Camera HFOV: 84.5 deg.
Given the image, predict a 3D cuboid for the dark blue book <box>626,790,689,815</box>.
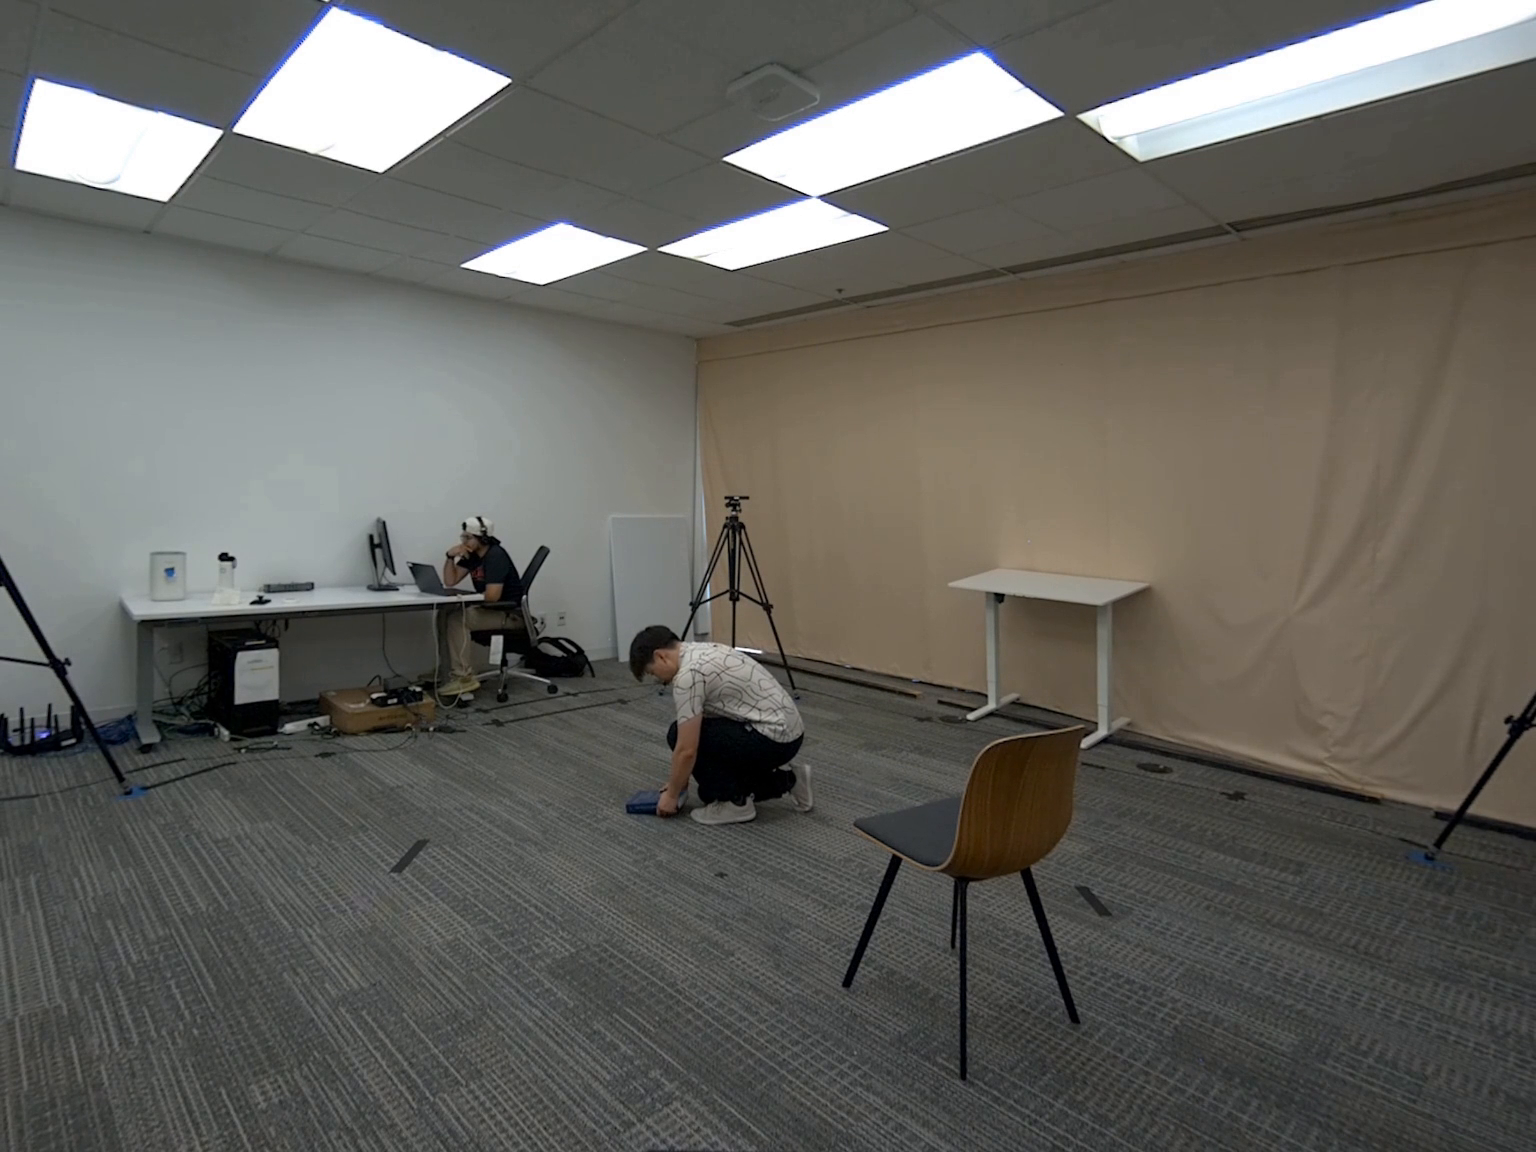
[{"bbox_3d":[-0.498,0.991,3.740,0.247,0.045,0.162,-7,5,12],"label":"dark blue book"}]
